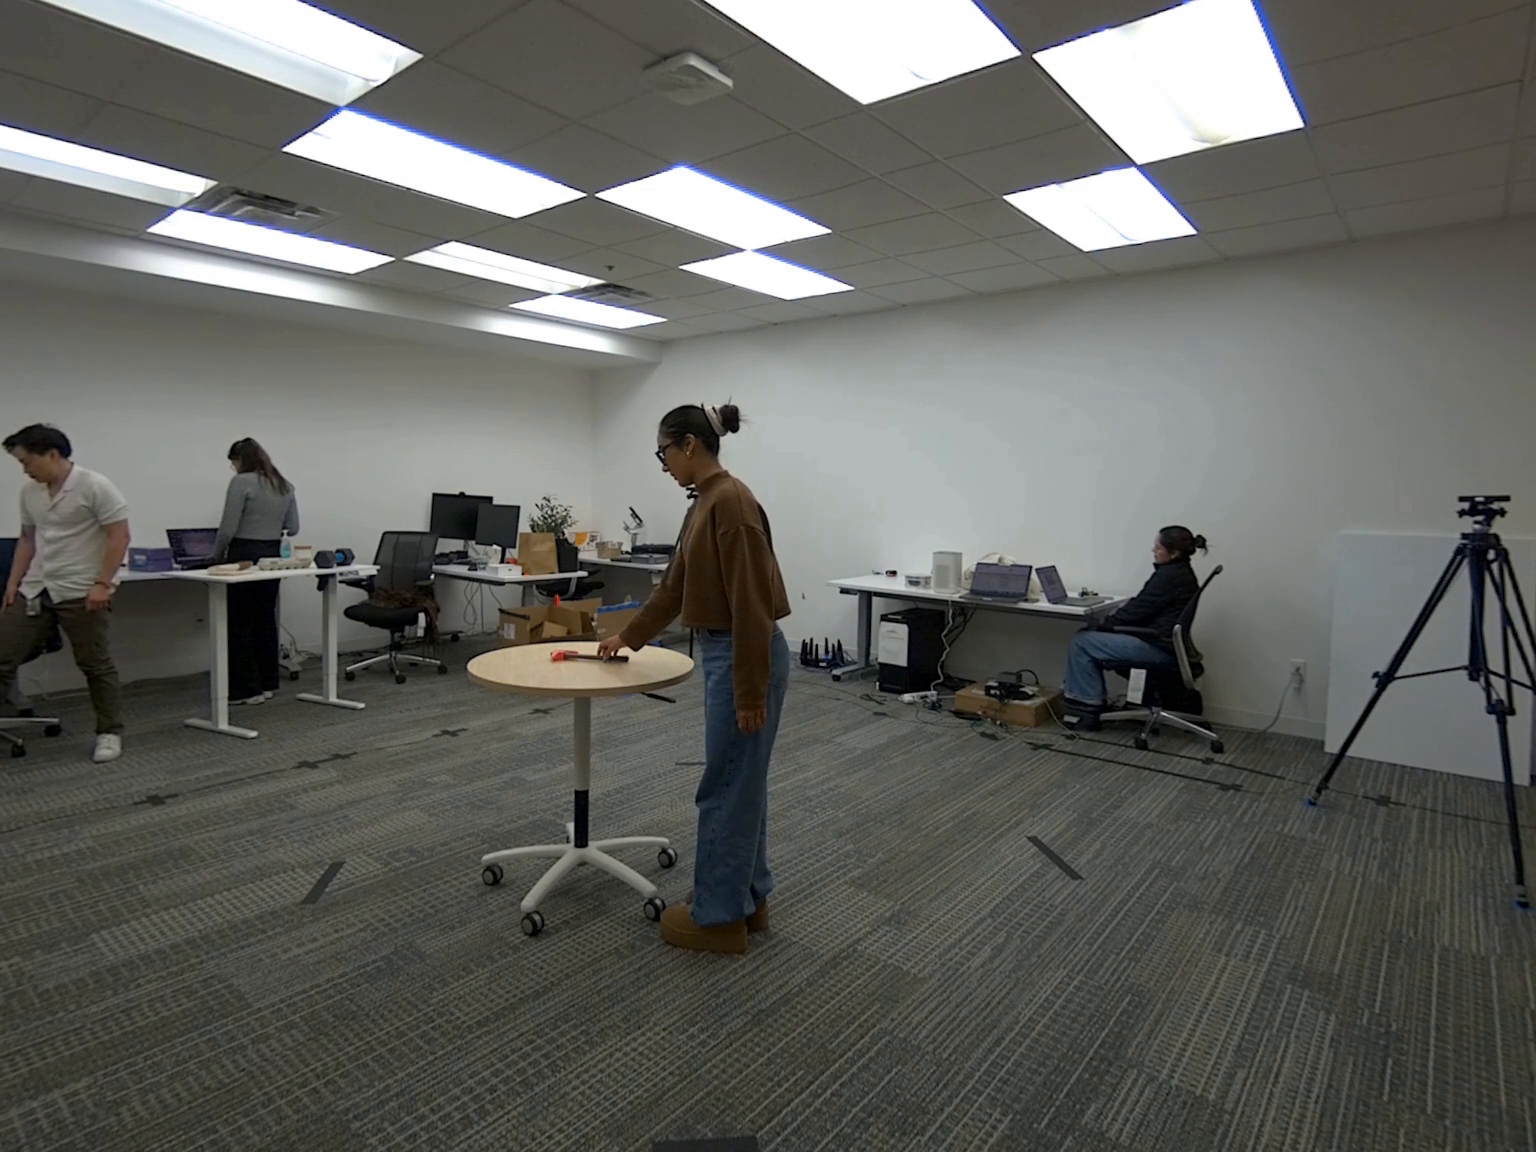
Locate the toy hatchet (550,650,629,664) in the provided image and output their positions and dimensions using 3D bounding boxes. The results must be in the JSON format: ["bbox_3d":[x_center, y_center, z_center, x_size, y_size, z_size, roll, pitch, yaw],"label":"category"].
[{"bbox_3d":[-0.638,0.278,2.985,0.267,0.029,0.132,2,2,-9],"label":"toy hatchet"}]
